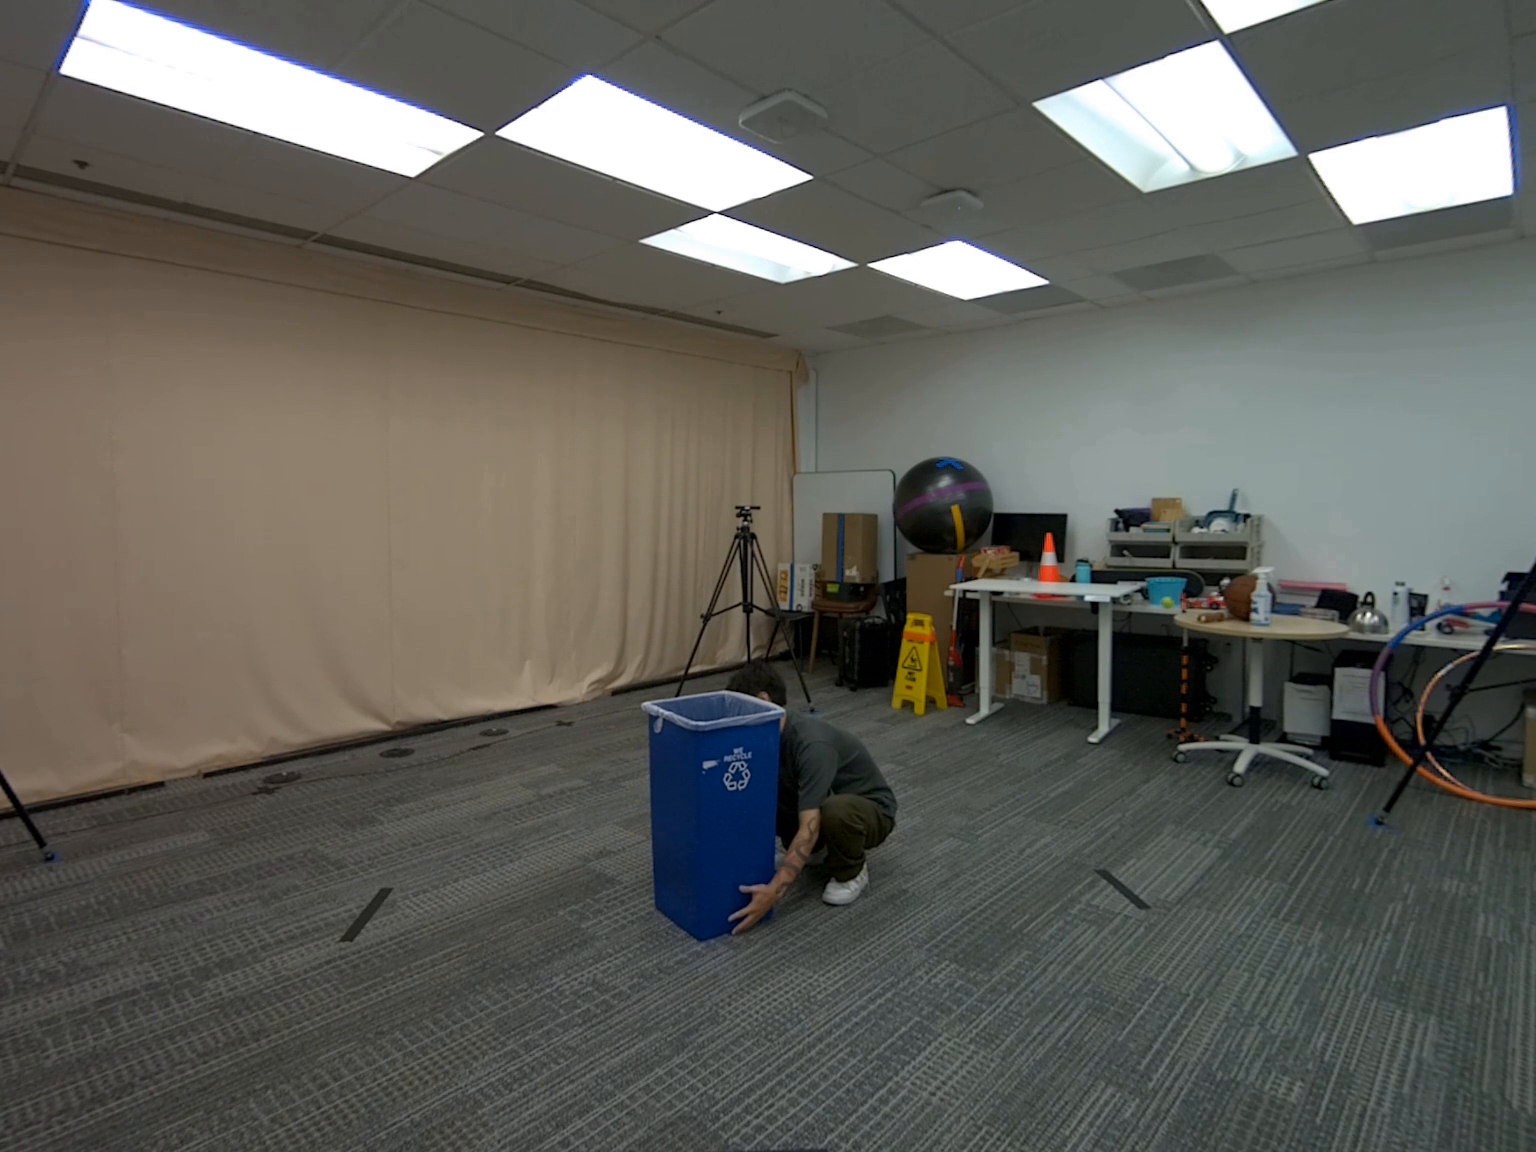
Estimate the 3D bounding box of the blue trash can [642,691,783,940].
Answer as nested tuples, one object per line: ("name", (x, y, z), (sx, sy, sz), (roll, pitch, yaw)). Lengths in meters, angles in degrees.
("blue trash can", (-0.181, 0.795, 2.866), (0.367, 0.712, 0.386), (-2, 3, -36))
